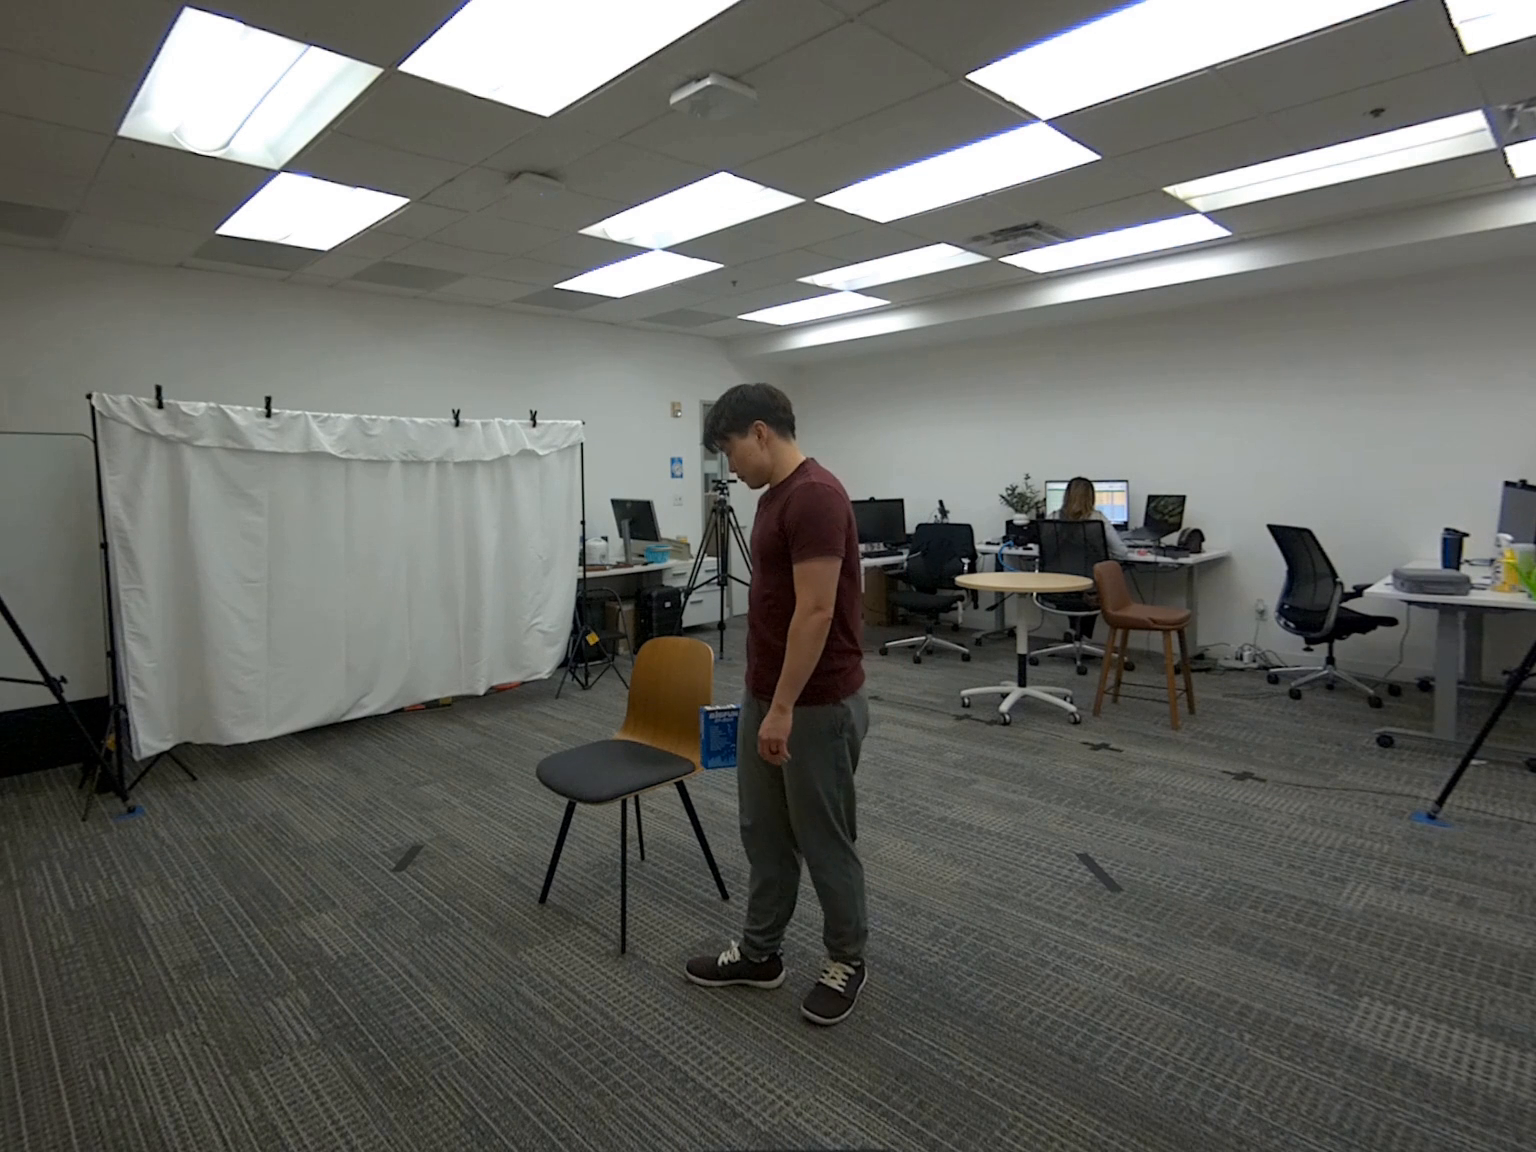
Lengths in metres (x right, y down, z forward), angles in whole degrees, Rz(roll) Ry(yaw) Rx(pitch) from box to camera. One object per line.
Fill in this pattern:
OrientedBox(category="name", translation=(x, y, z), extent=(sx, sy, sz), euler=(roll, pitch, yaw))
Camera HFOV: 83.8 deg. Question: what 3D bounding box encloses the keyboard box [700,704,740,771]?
OrientedBox(category="keyboard box", translation=(0.026, 0.463, 2.532), extent=(0.430, 0.176, 0.060), euler=(-3, 0, -17))
